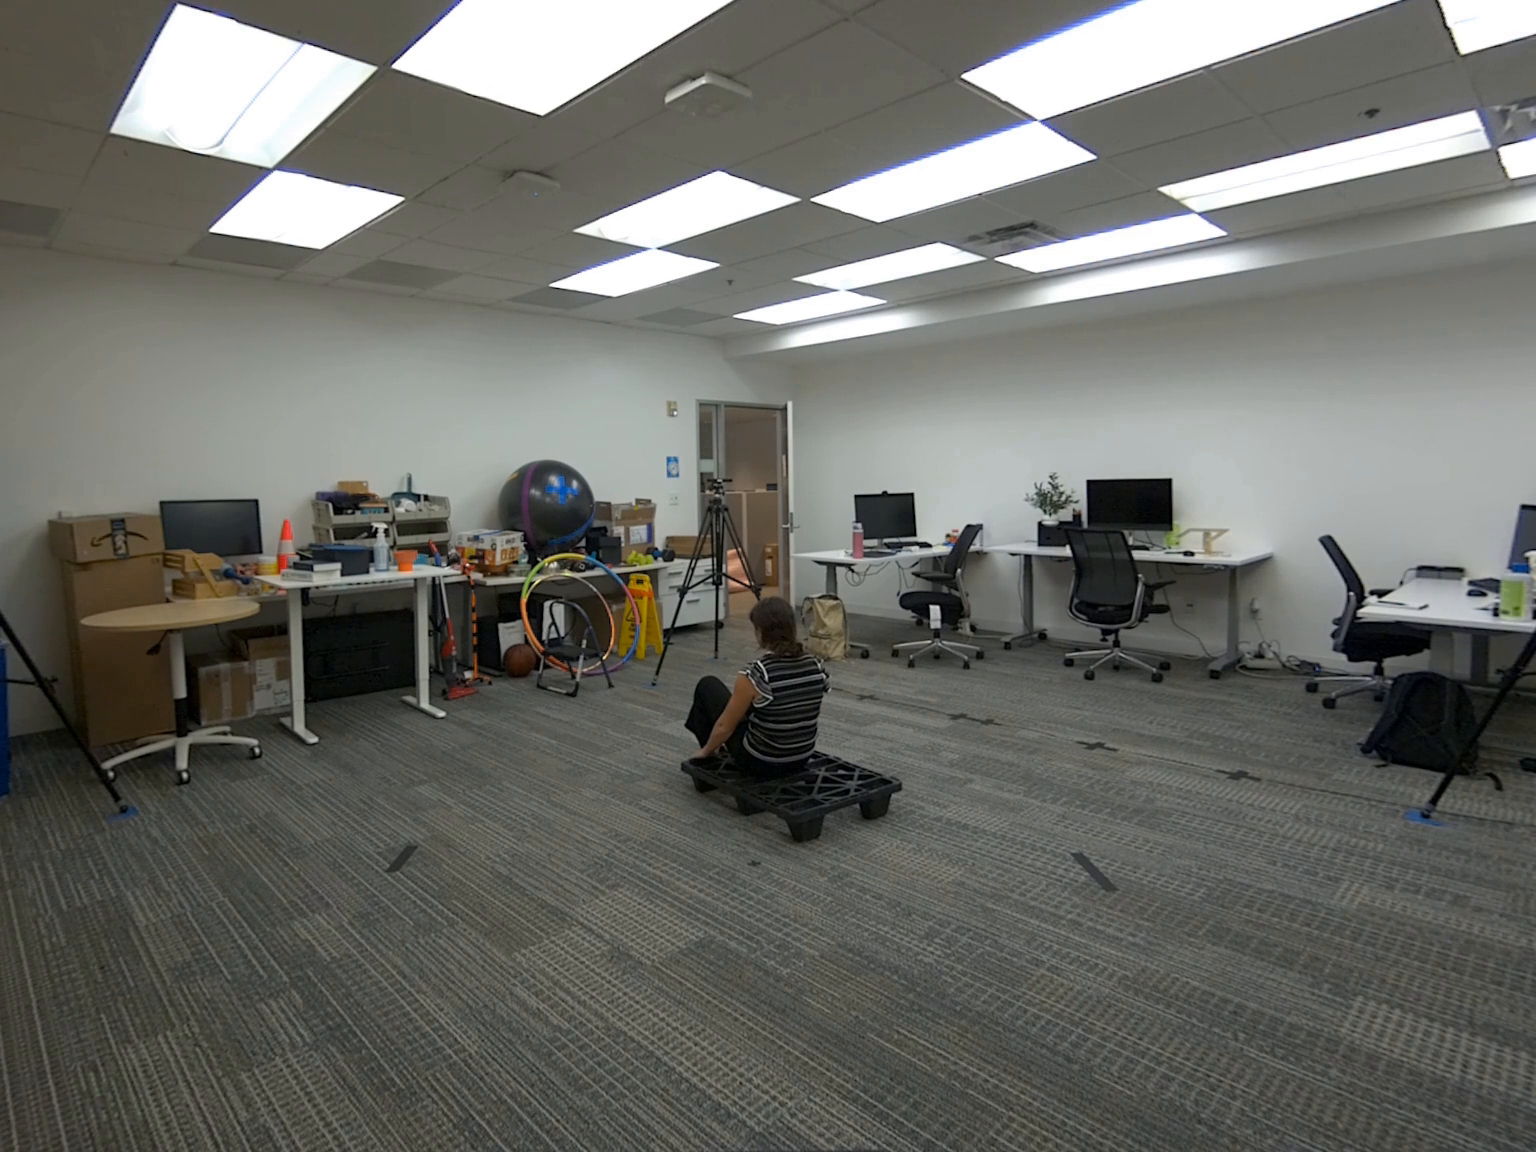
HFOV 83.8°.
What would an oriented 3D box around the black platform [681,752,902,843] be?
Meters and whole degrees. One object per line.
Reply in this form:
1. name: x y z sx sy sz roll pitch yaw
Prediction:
1. black platform: 0.087 0.909 3.694 0.589 0.143 0.829 -4 6 -36
